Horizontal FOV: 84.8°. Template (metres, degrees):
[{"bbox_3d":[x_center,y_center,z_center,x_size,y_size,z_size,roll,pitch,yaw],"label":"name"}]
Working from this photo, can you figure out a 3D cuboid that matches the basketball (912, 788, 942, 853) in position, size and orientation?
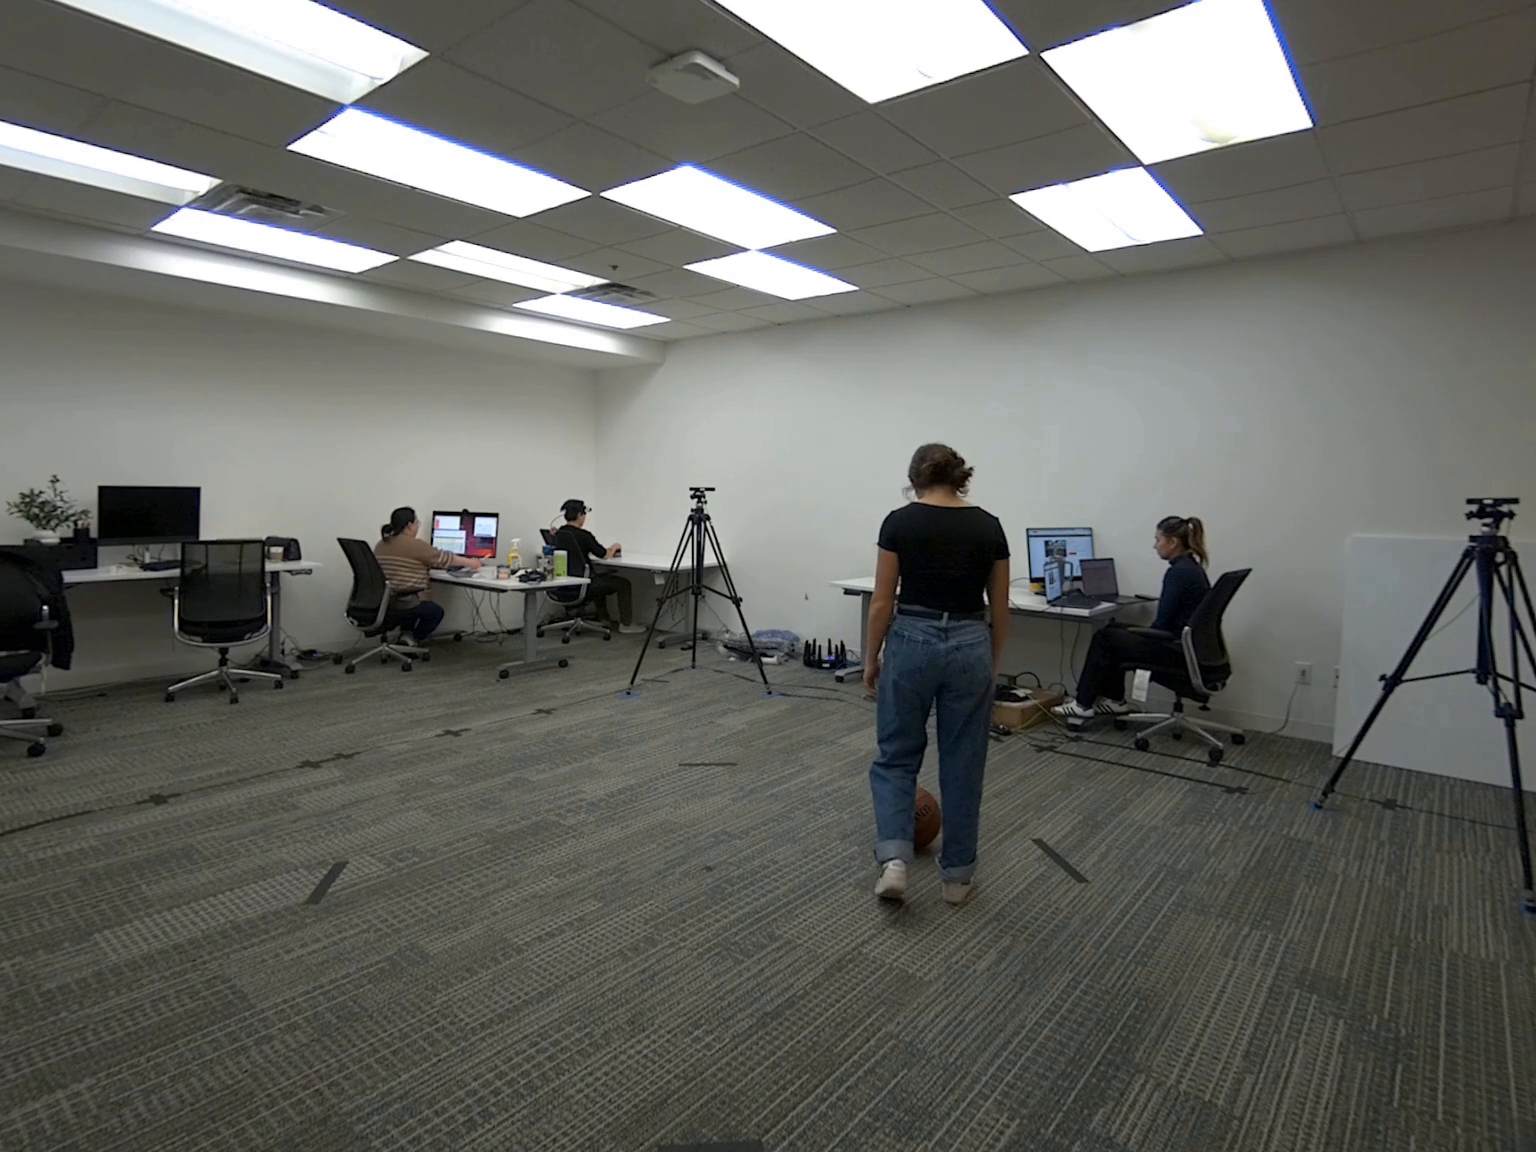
[{"bbox_3d":[0.552,0.934,3.334,0.235,0.235,0.237,1,4,-2],"label":"basketball"}]
